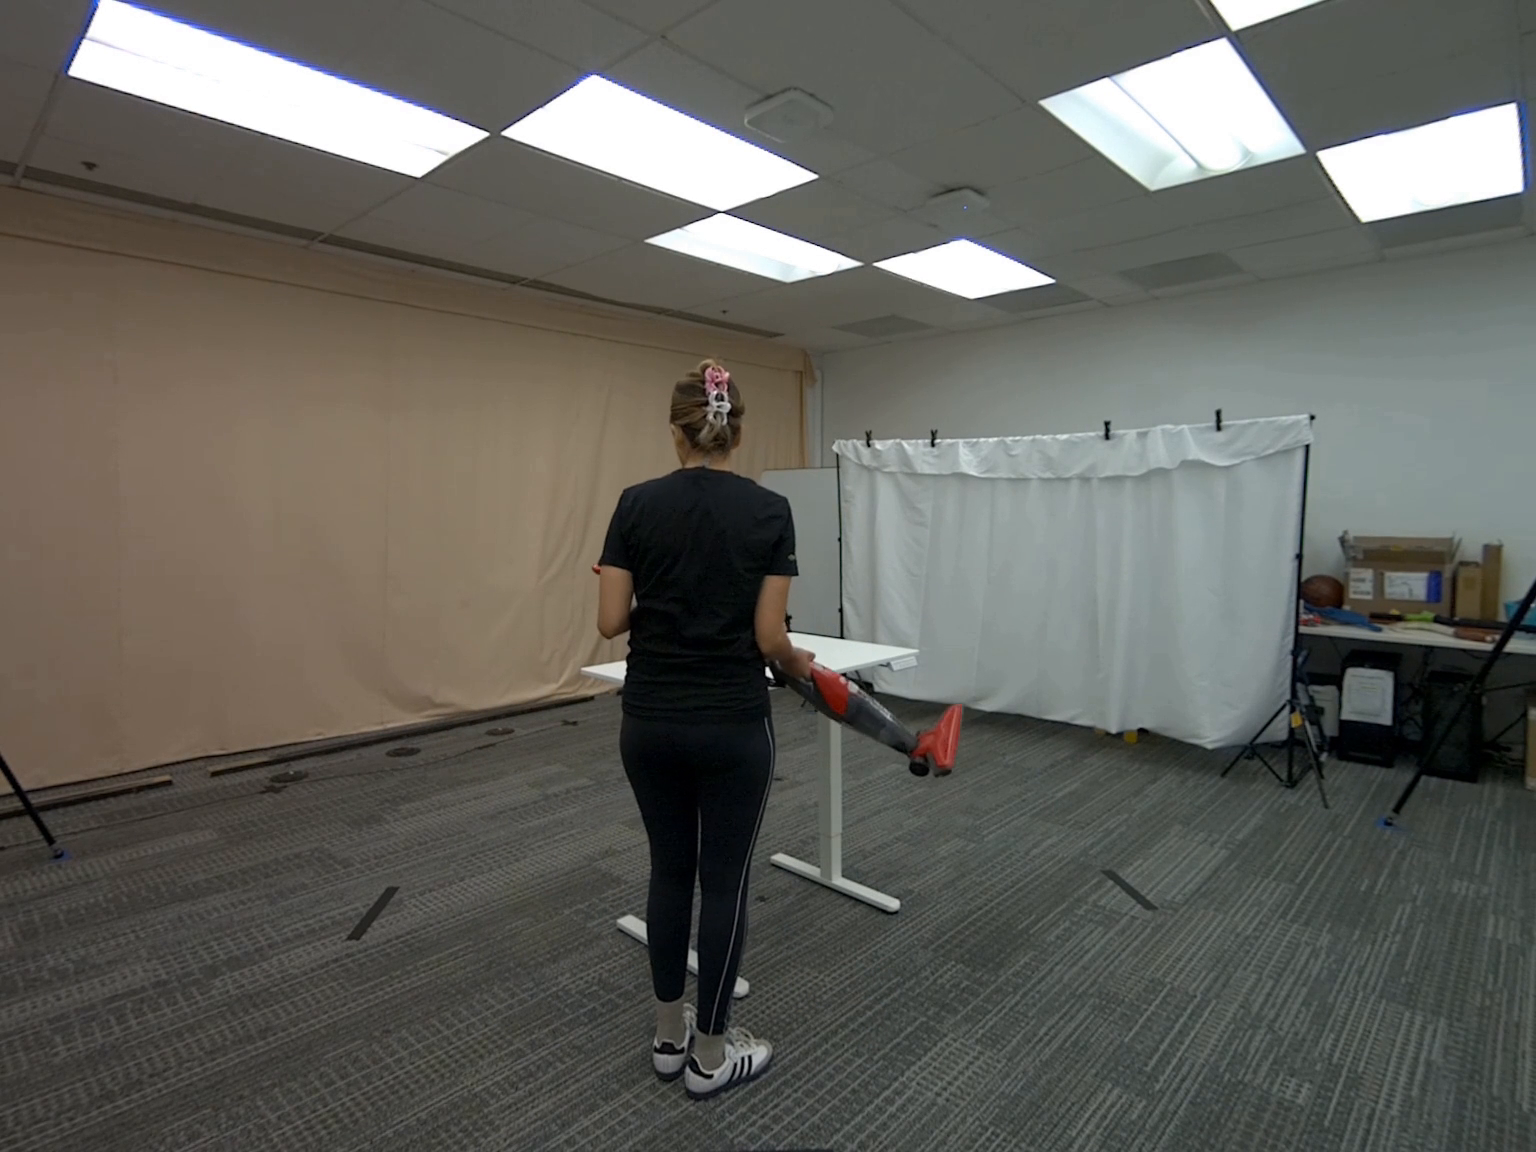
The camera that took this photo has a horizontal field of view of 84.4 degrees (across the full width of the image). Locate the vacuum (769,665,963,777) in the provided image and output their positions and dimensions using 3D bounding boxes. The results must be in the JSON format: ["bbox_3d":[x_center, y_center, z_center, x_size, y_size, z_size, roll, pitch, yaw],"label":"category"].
[{"bbox_3d":[0.000,0.220,2.260,1.056,0.143,0.252,28,37,5],"label":"vacuum"}]
